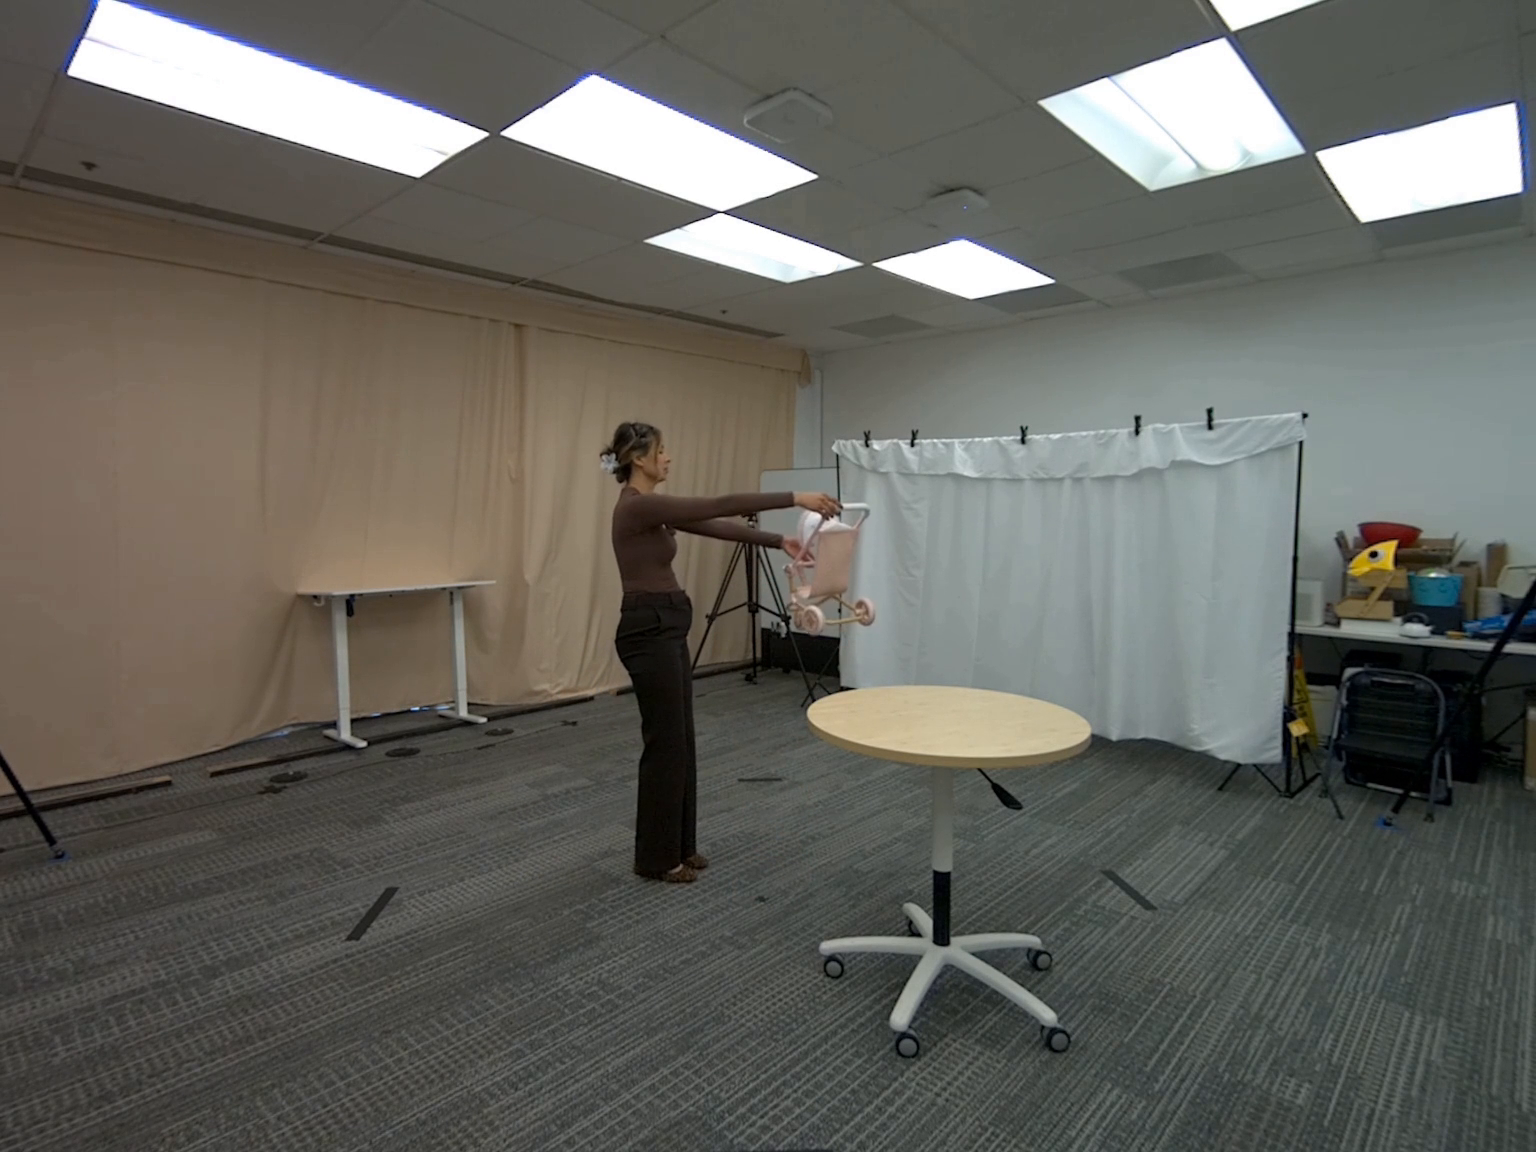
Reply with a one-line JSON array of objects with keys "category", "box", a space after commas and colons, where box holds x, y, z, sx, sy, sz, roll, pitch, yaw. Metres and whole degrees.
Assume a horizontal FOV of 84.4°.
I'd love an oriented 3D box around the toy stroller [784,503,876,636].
[{"category": "toy stroller", "box": [0.211, -0.017, 3.175, 0.274, 0.531, 0.352, -6, 12, -29]}]
